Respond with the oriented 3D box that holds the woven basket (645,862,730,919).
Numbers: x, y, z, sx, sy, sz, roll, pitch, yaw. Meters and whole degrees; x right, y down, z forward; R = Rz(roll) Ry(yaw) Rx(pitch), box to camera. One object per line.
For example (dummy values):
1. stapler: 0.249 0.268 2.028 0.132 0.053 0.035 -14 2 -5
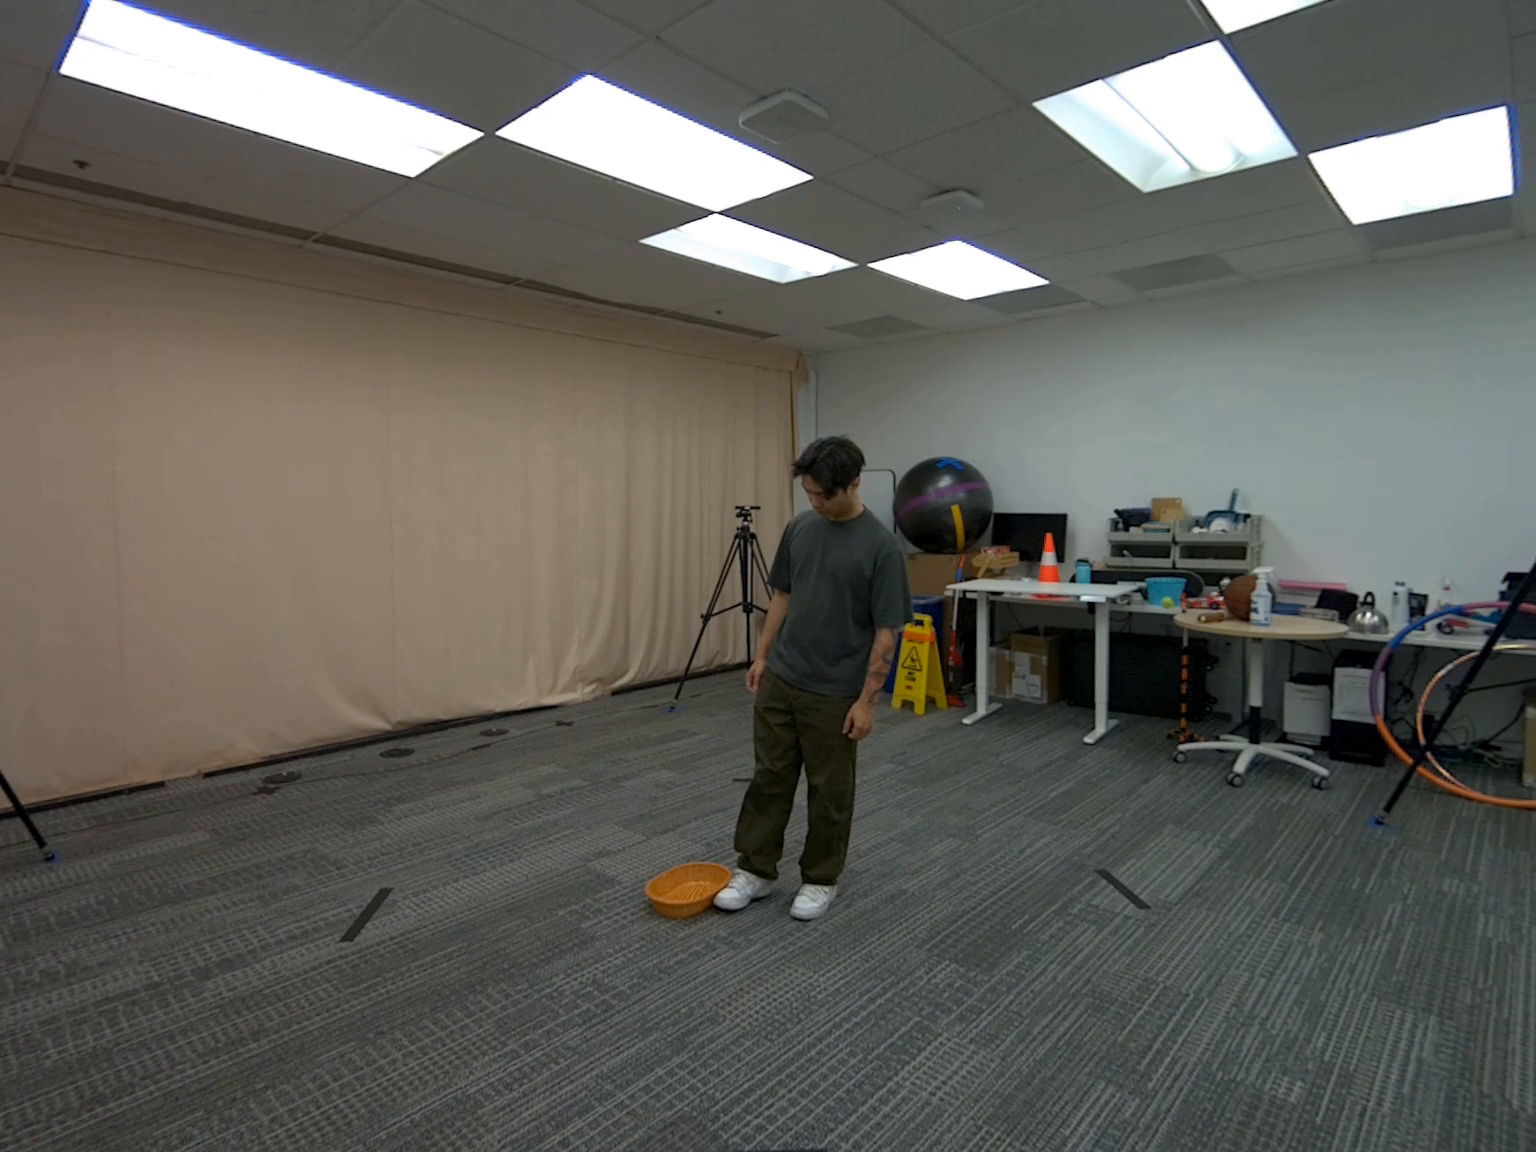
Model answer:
1. woven basket: -0.279 1.110 2.973 0.260 0.073 0.340 2 5 37
